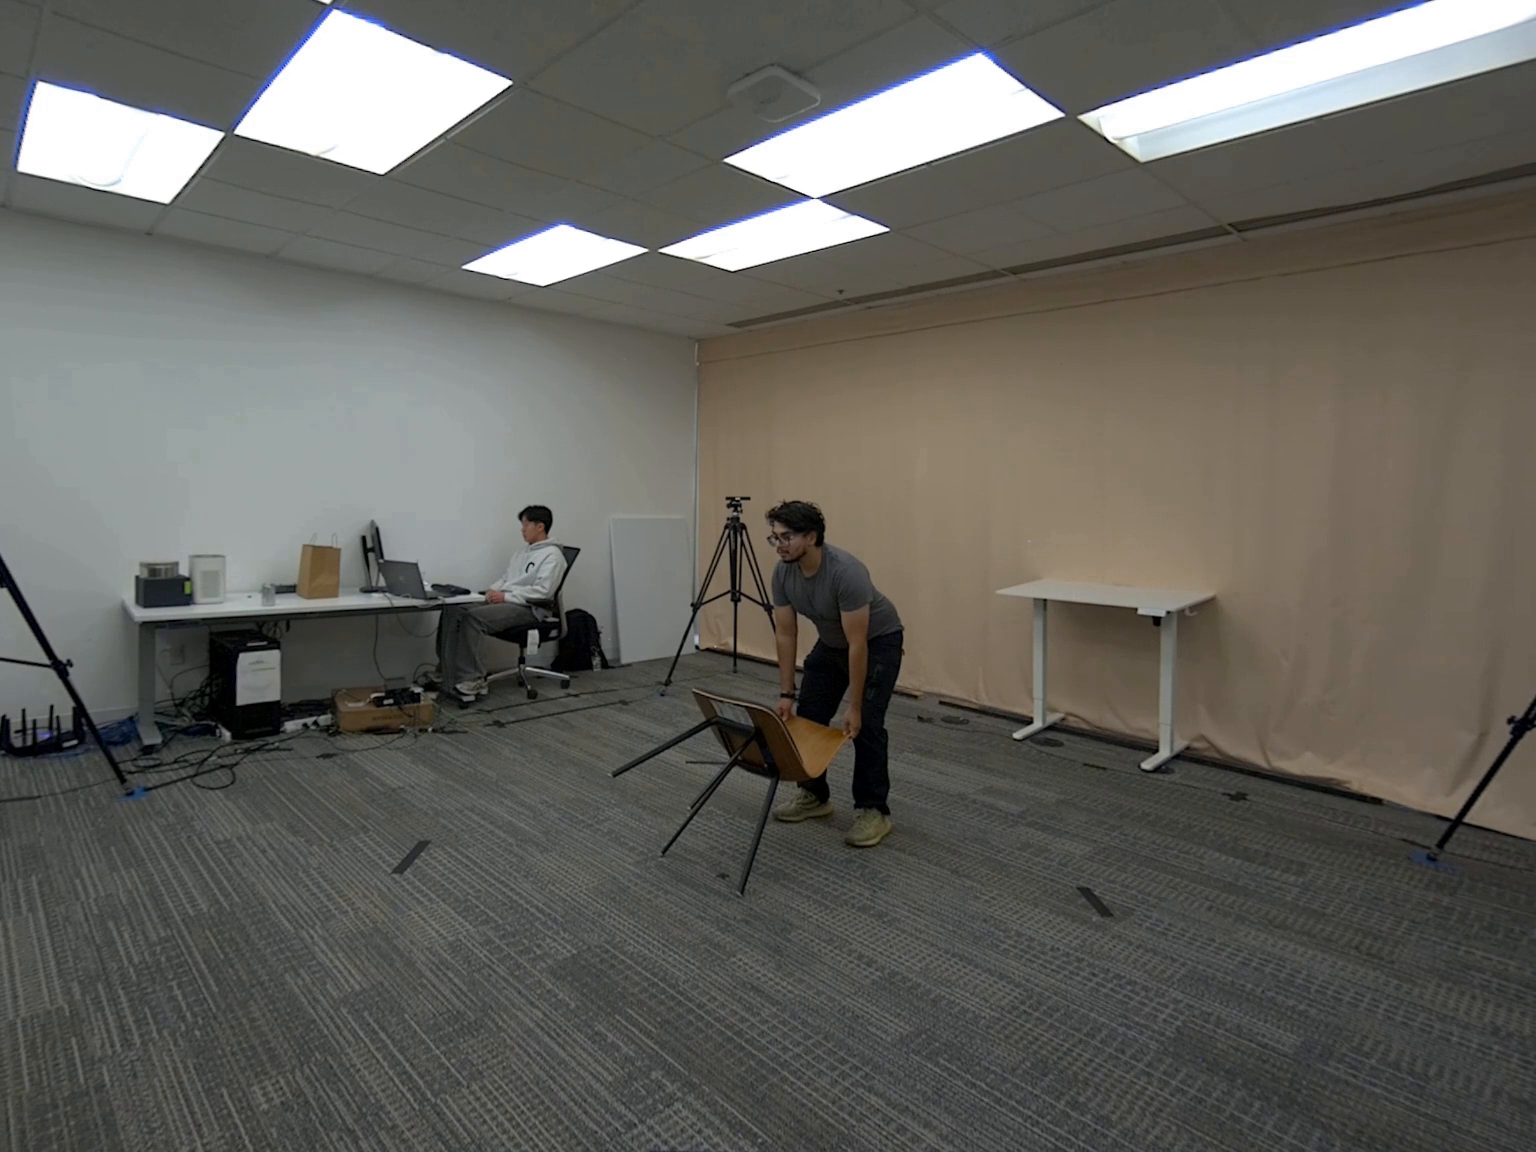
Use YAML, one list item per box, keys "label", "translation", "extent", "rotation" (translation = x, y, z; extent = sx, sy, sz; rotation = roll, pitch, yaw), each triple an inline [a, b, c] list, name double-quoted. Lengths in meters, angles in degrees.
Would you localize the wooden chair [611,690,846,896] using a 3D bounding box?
- label: "wooden chair"
  translation: [-0.098, 0.663, 3.231]
  extent: [0.490, 0.512, 0.874]
  rotation: [5, 35, 44]
